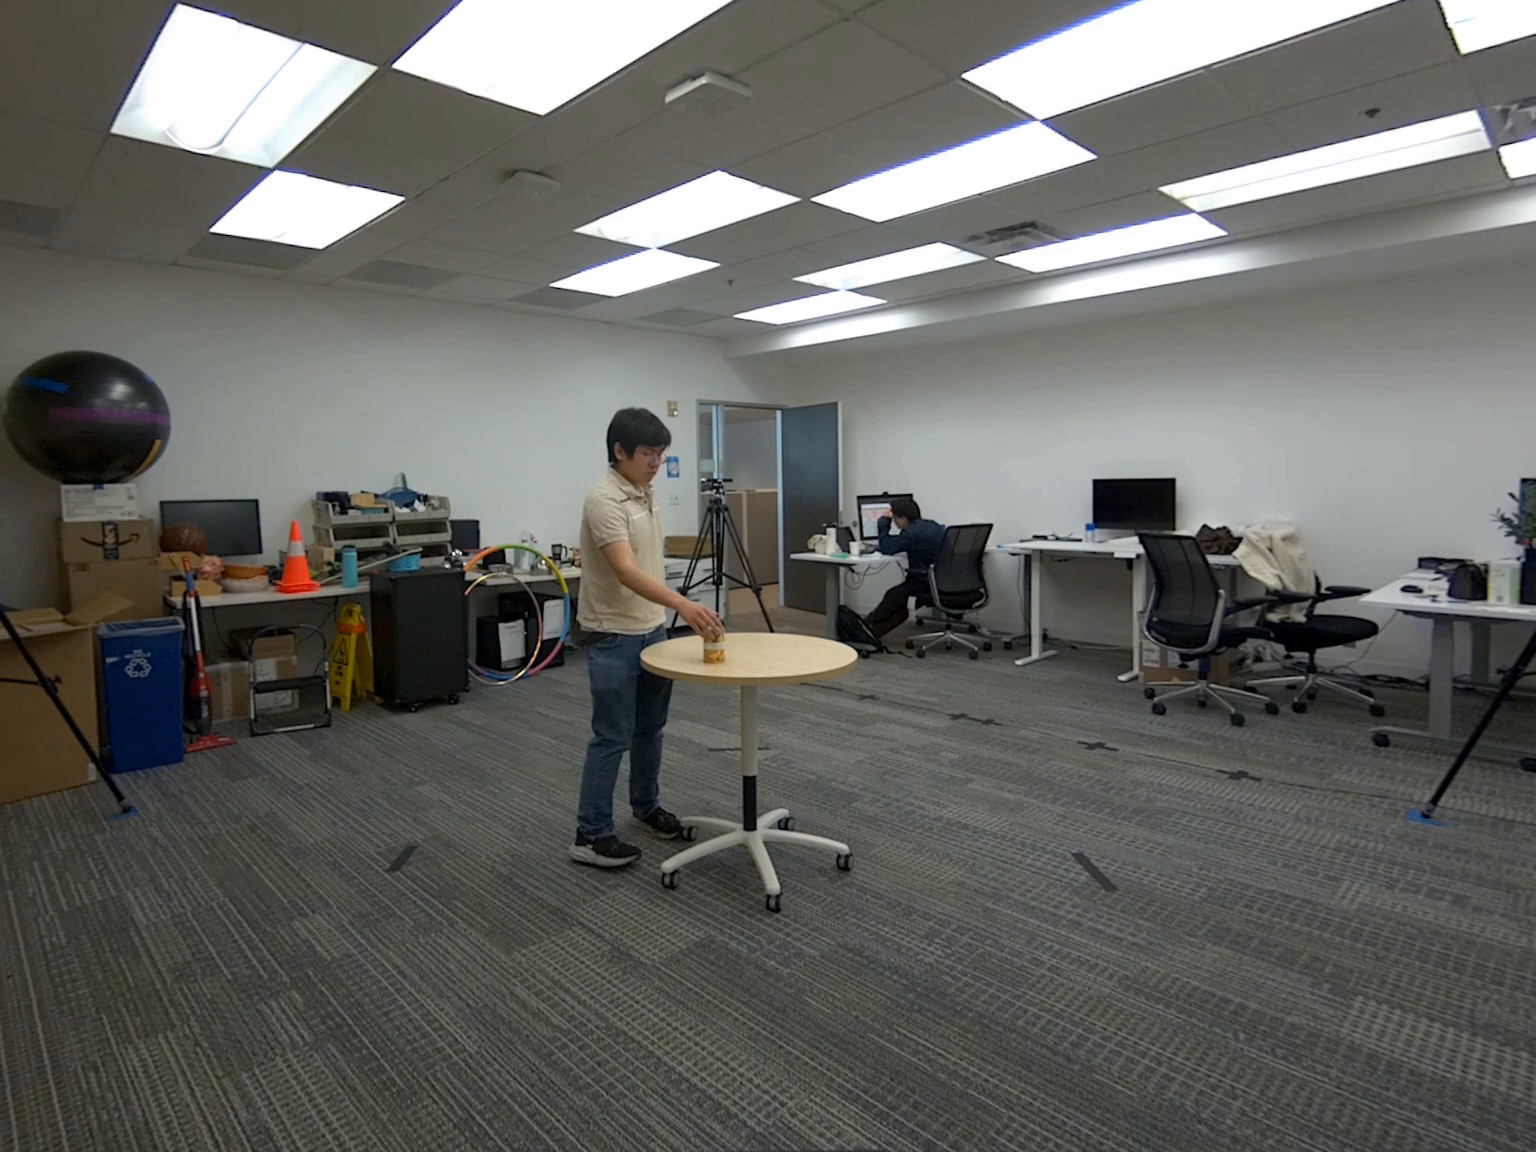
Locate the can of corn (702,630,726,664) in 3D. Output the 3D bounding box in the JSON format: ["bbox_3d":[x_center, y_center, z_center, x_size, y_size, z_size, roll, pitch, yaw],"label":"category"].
[{"bbox_3d":[-0.179,0.231,2.874,0.074,0.110,0.074,-3,5,-1],"label":"can of corn"}]
